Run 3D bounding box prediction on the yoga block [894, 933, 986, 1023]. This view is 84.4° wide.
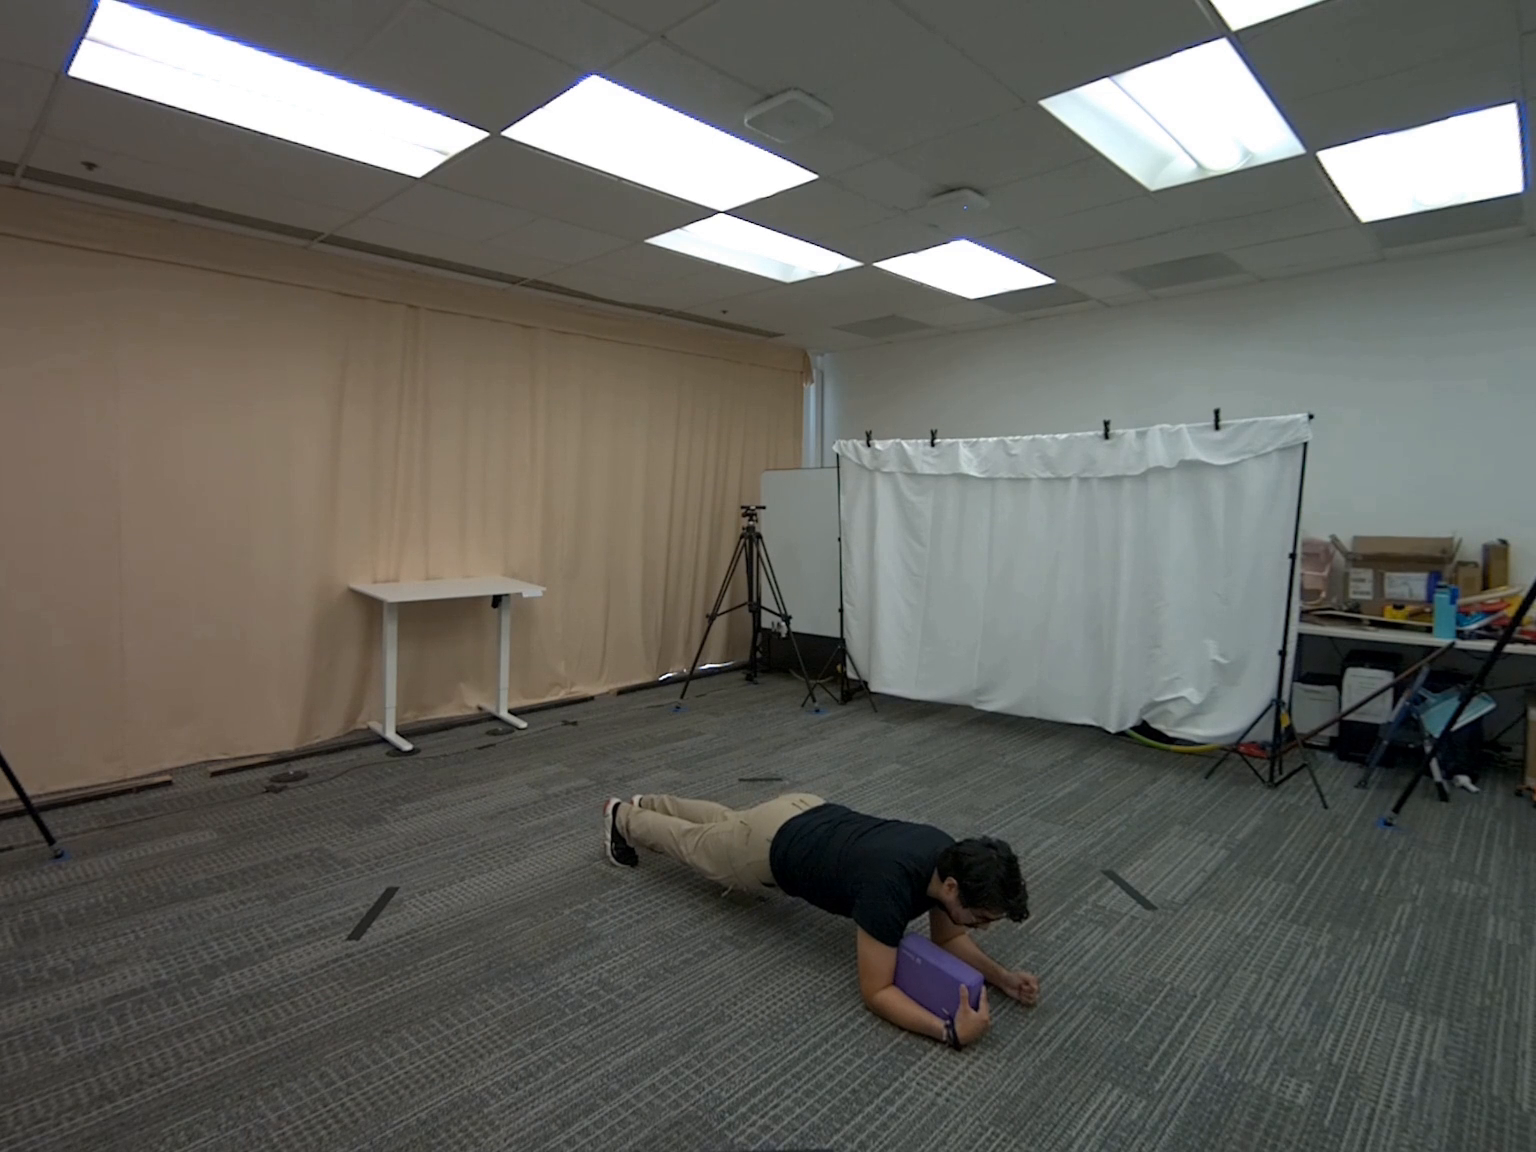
[{"bbox_3d":[0.449,1.093,2.279,0.074,0.148,0.238,-2,13,-41],"label":"yoga block"}]
